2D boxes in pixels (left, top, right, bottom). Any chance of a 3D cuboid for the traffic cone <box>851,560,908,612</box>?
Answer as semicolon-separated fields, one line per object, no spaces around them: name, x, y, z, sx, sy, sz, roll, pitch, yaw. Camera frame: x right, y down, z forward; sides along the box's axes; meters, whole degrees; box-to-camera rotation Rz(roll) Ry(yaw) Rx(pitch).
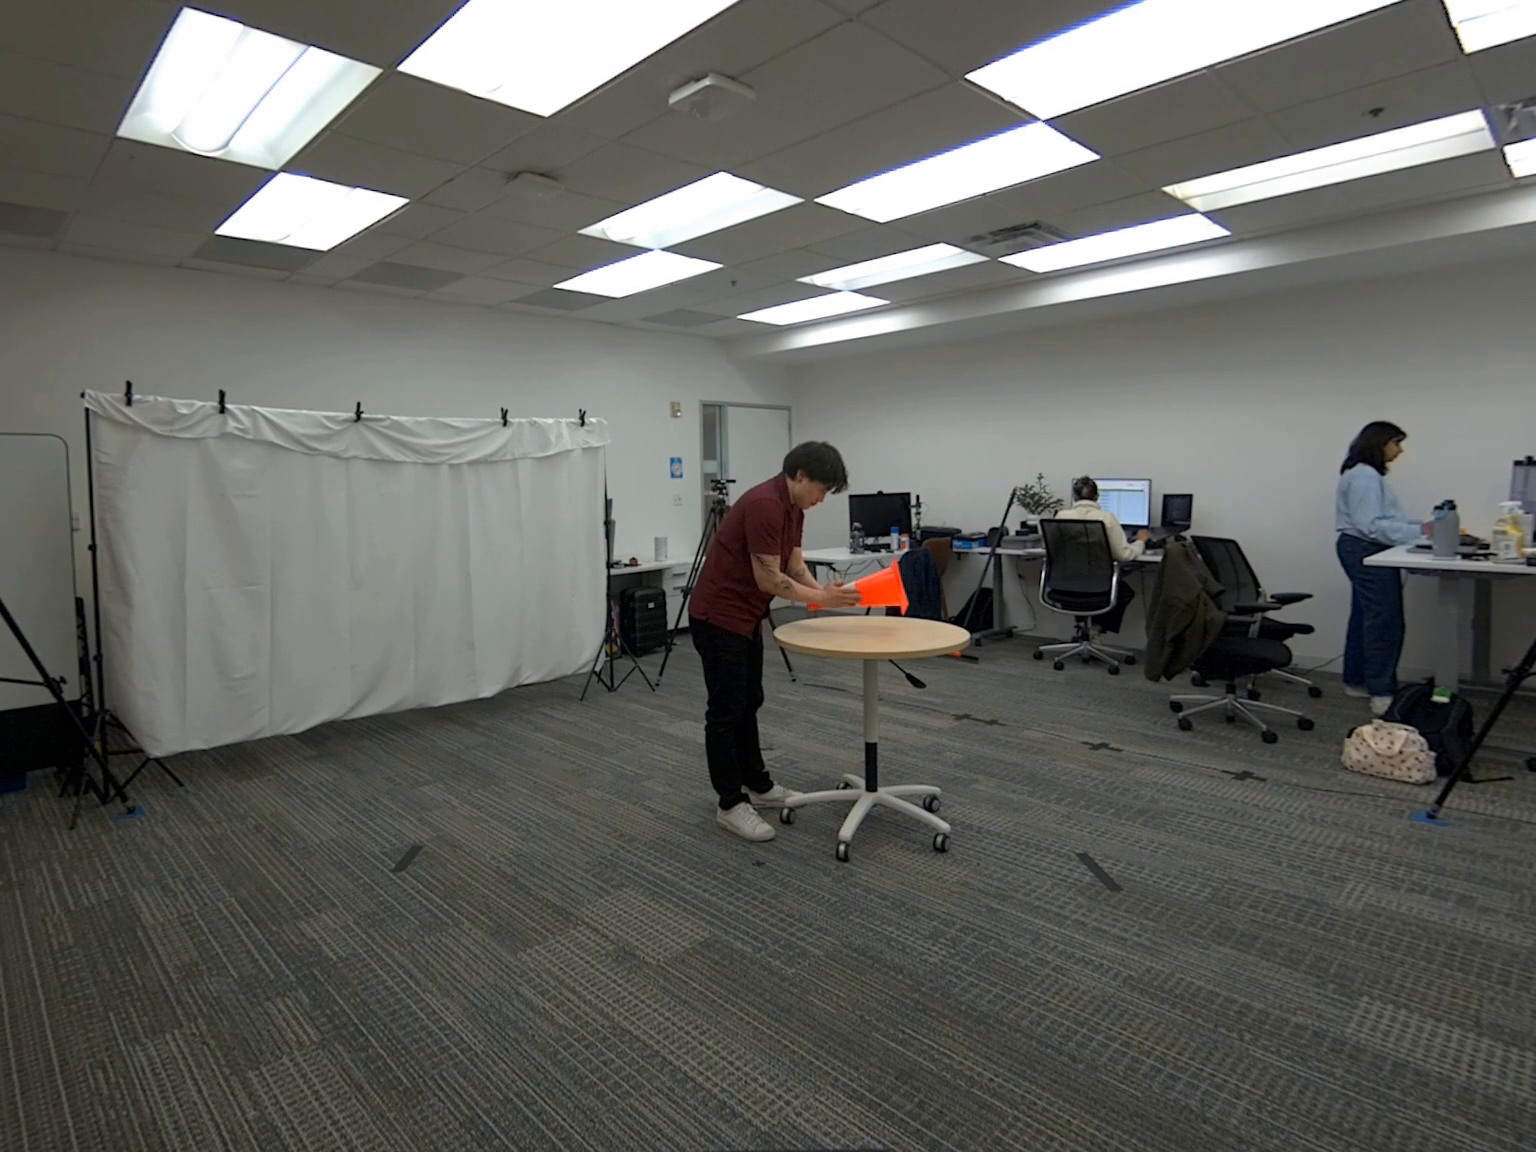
traffic cone;0.342;0.073;3.394;0.387;0.206;0.201;-13;-2;12
